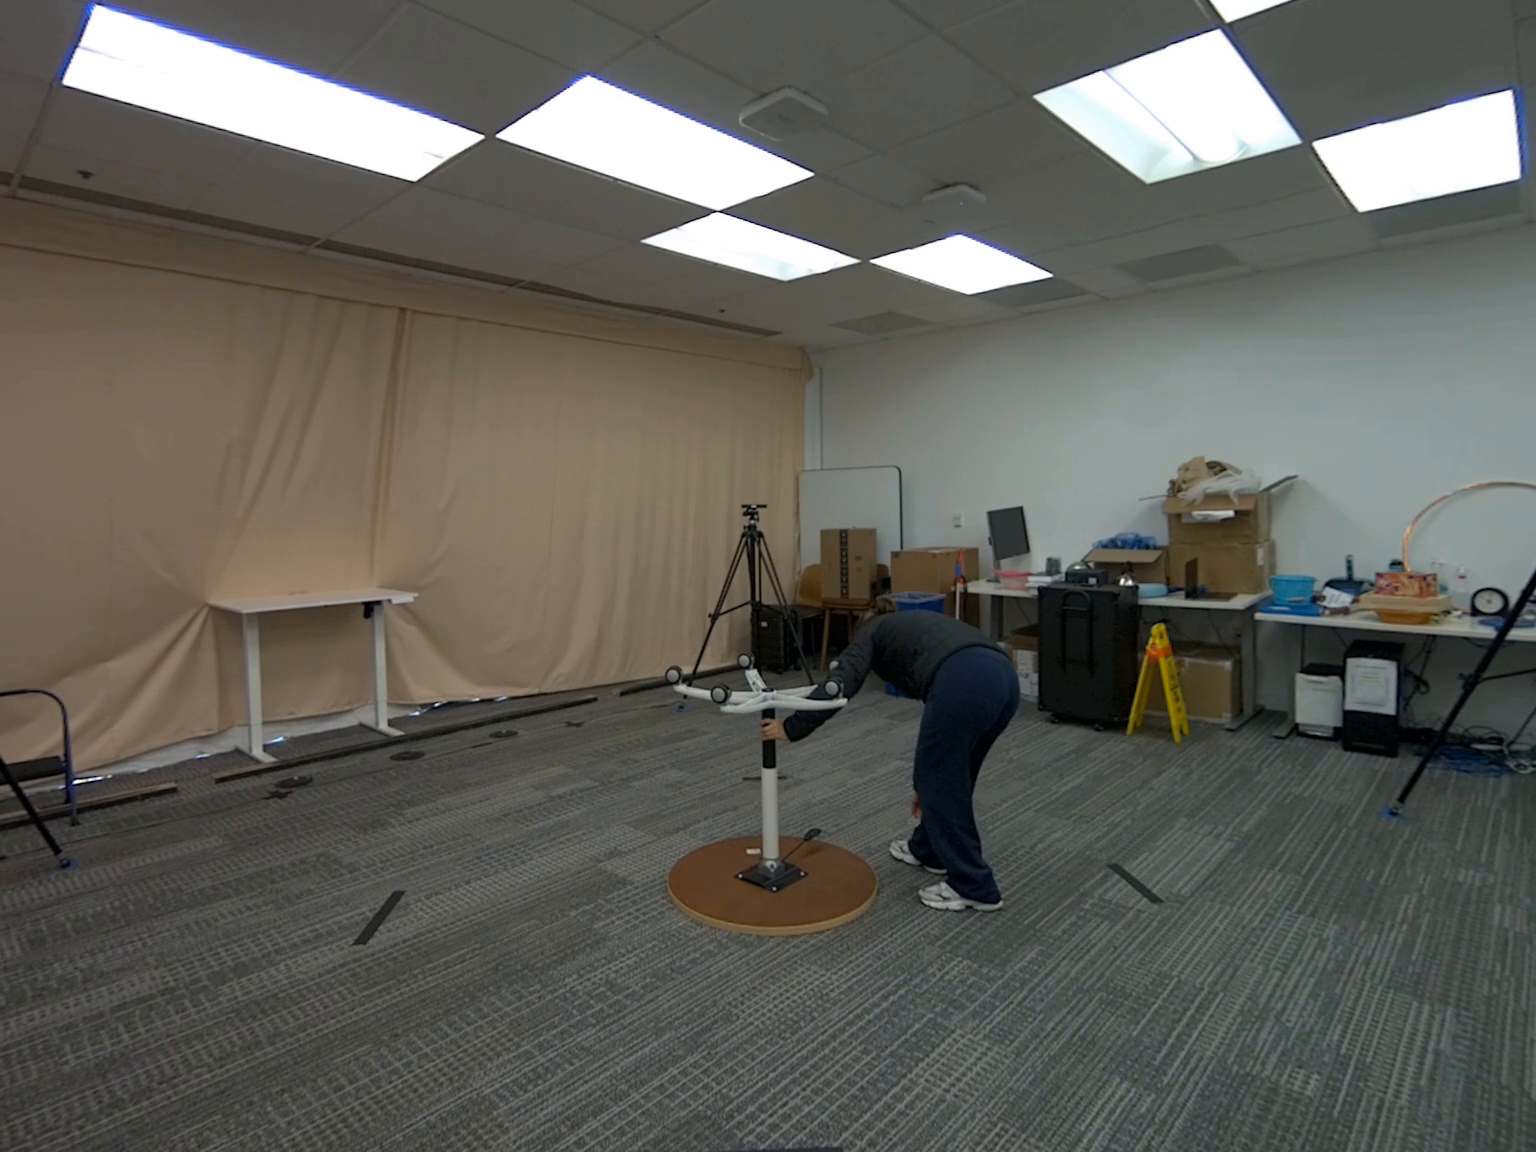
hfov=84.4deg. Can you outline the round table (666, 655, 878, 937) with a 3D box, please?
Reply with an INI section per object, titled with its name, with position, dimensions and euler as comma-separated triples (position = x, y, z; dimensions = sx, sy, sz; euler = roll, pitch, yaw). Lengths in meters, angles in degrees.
[round table]
position = 0.026, 0.731, 3.090
dimensions = 0.784, 0.784, 0.788
euler = -1, 4, -2
